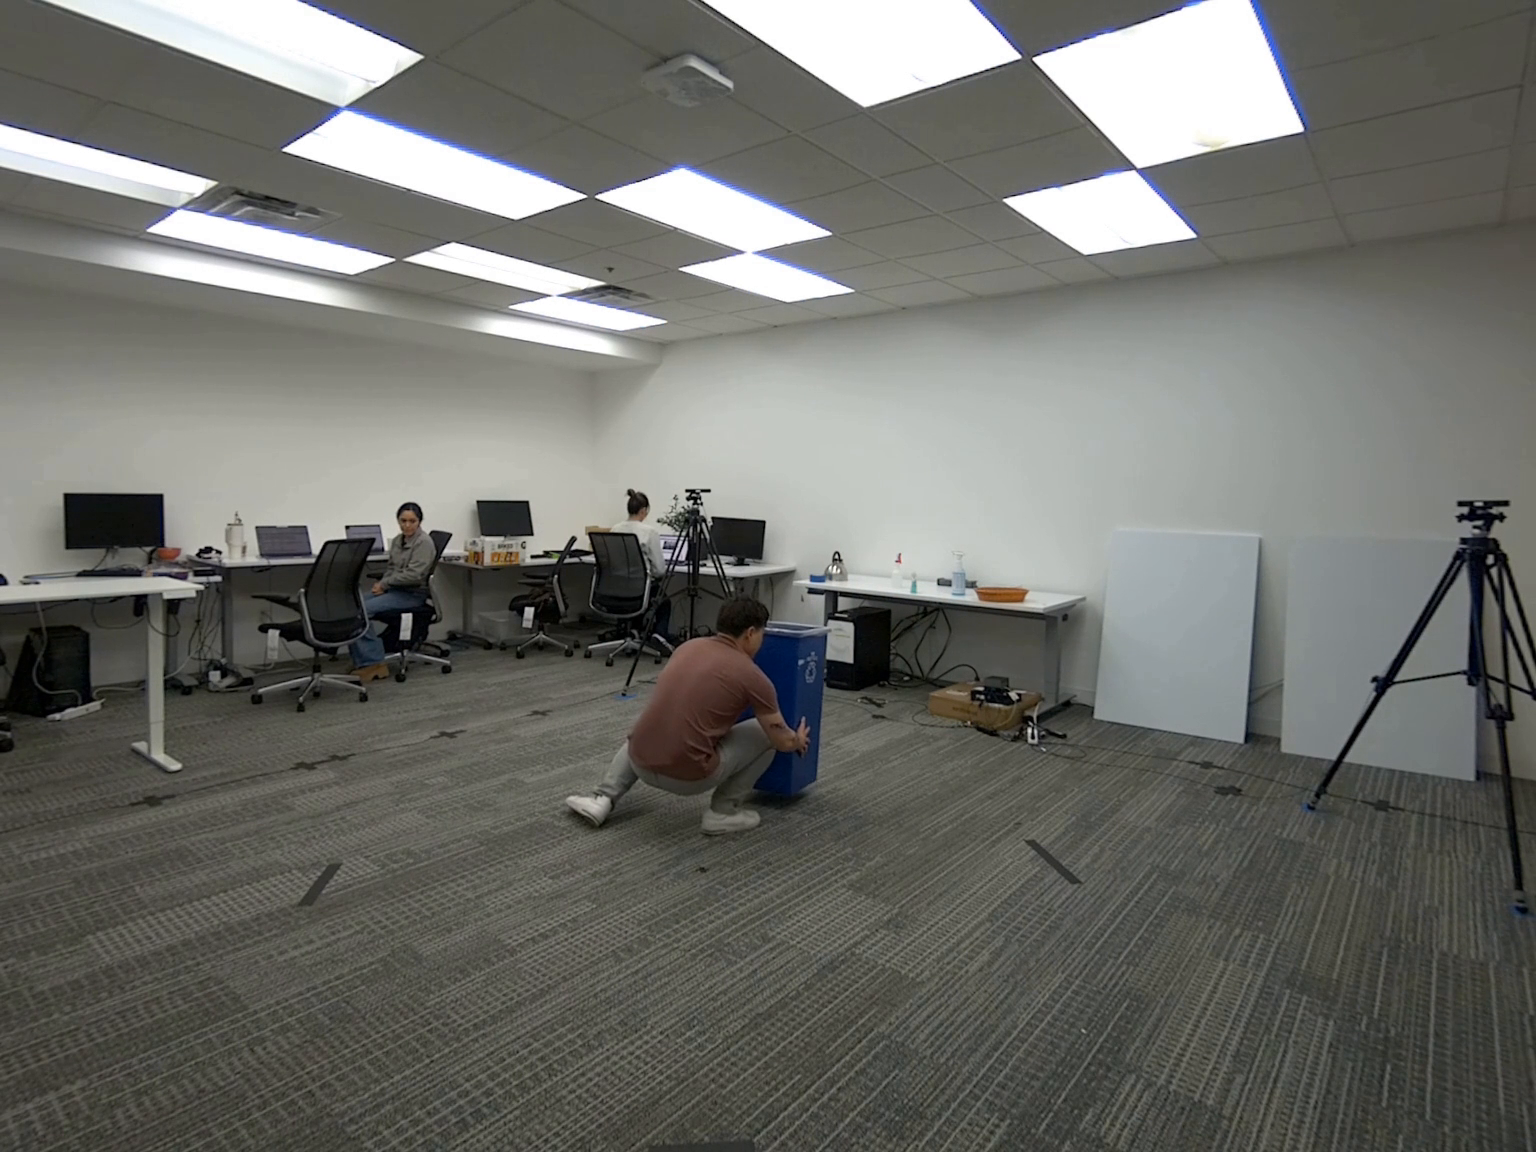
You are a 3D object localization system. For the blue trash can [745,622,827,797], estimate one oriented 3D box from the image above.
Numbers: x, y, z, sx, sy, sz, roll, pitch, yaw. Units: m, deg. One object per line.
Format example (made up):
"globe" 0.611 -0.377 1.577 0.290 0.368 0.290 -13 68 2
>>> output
"blue trash can" 0.035 0.577 3.902 0.389 0.713 0.364 3 1 28
